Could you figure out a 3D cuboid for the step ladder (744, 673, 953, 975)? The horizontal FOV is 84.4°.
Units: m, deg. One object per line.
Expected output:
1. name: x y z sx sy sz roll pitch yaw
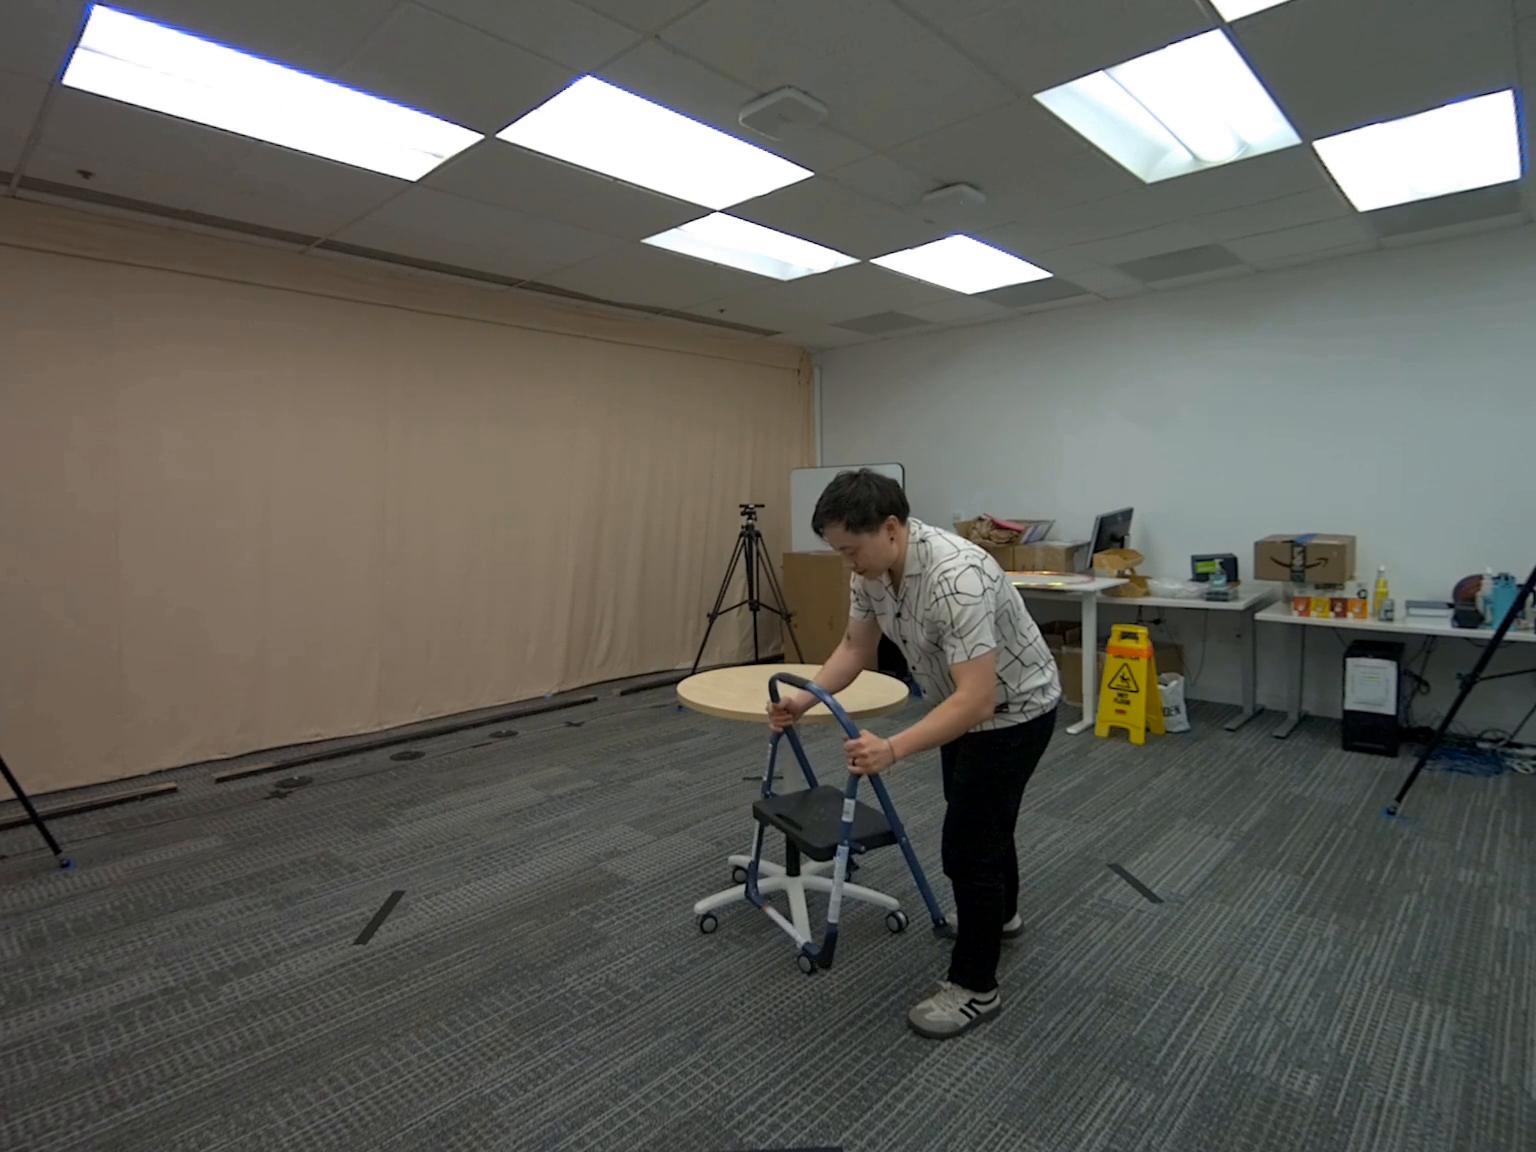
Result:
1. step ladder: 0.164 0.542 2.082 0.341 0.605 0.441 -7 3 -25
